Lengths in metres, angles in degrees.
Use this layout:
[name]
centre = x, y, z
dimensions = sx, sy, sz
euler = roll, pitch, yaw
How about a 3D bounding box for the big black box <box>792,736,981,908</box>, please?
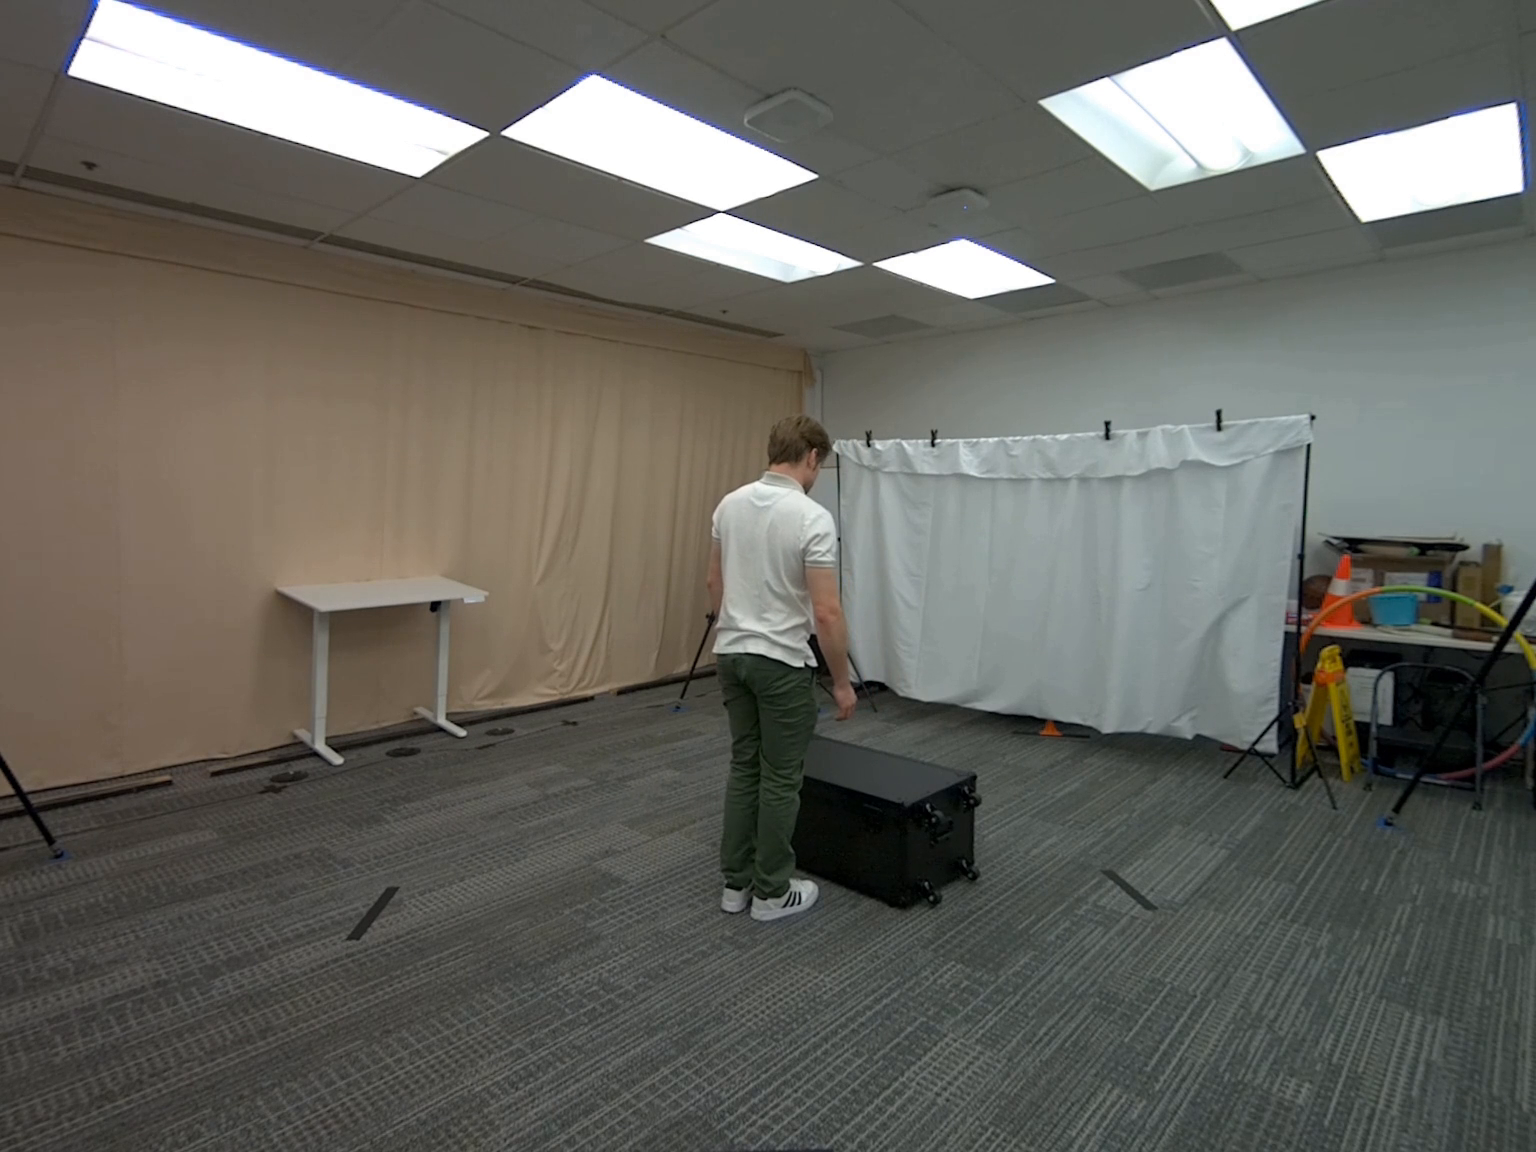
[big black box]
centre = 0.363, 0.922, 3.276
dimensions = 0.898, 0.384, 0.507
euler = 5, 5, 43
